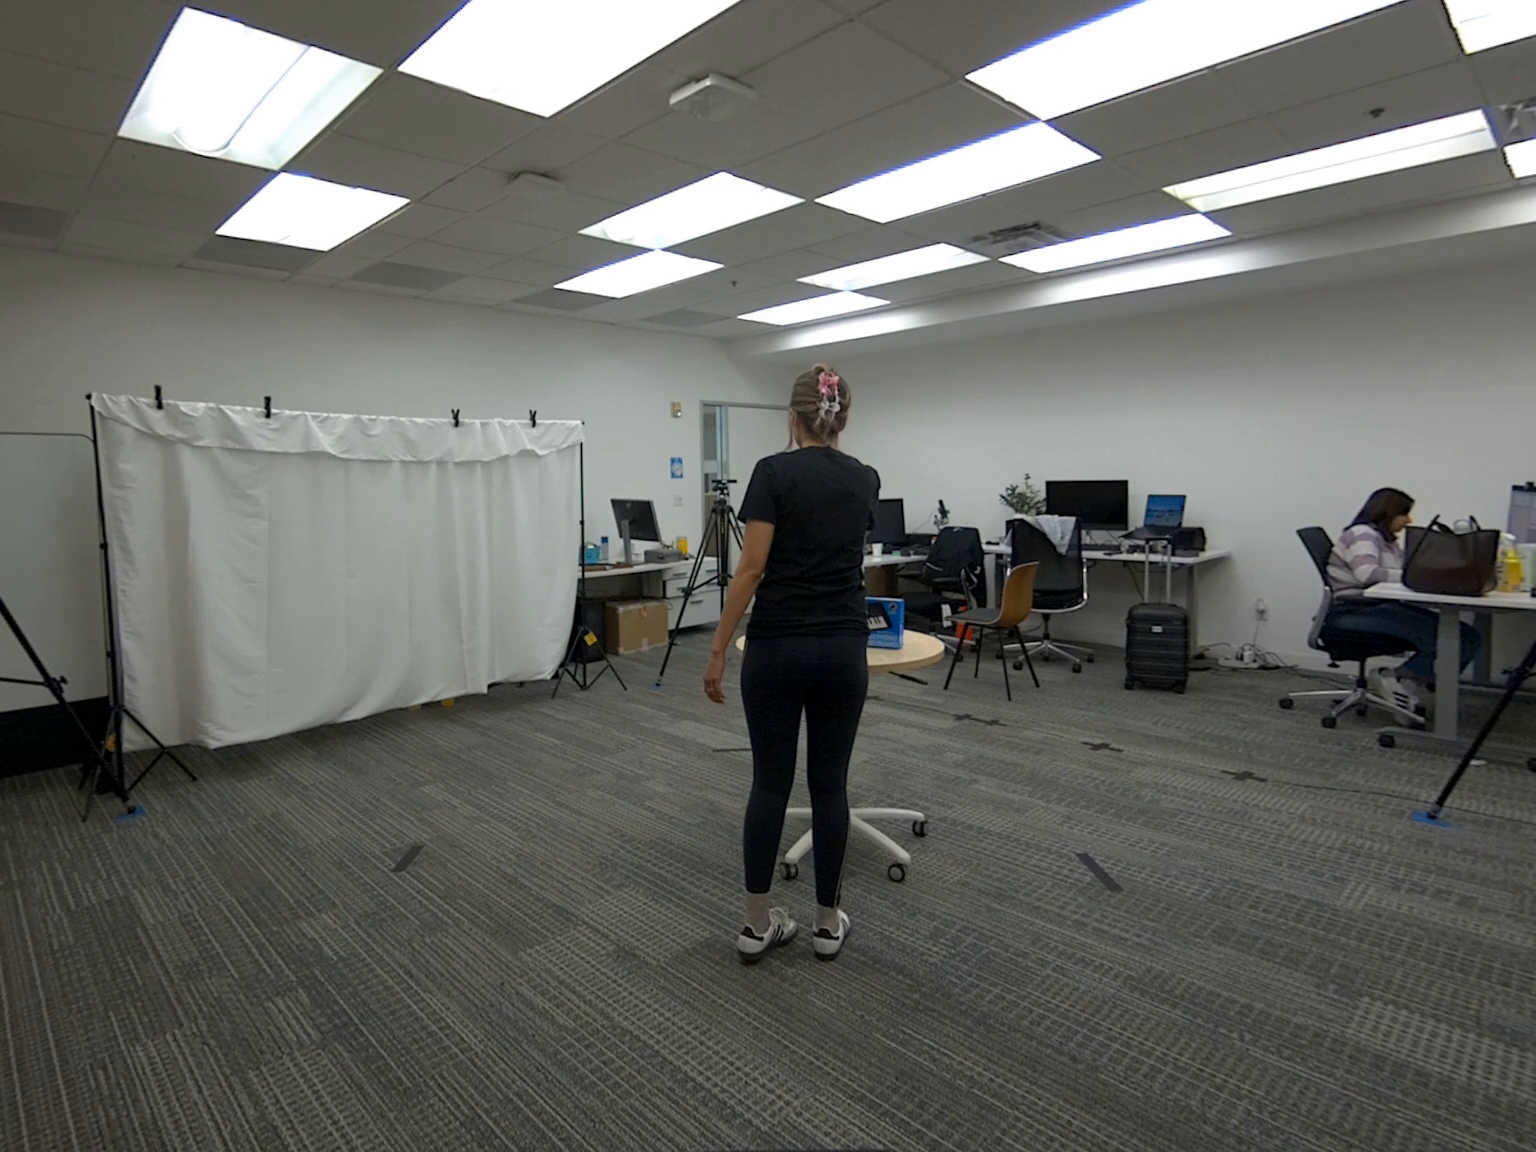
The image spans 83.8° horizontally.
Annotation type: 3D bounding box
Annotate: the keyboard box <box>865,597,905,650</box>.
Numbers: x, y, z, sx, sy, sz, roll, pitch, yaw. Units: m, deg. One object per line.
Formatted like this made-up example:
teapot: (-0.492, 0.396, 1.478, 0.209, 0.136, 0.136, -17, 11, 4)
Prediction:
keyboard box: (0.281, 0.163, 3.150, 0.446, 0.175, 0.058, 2, 3, 24)
